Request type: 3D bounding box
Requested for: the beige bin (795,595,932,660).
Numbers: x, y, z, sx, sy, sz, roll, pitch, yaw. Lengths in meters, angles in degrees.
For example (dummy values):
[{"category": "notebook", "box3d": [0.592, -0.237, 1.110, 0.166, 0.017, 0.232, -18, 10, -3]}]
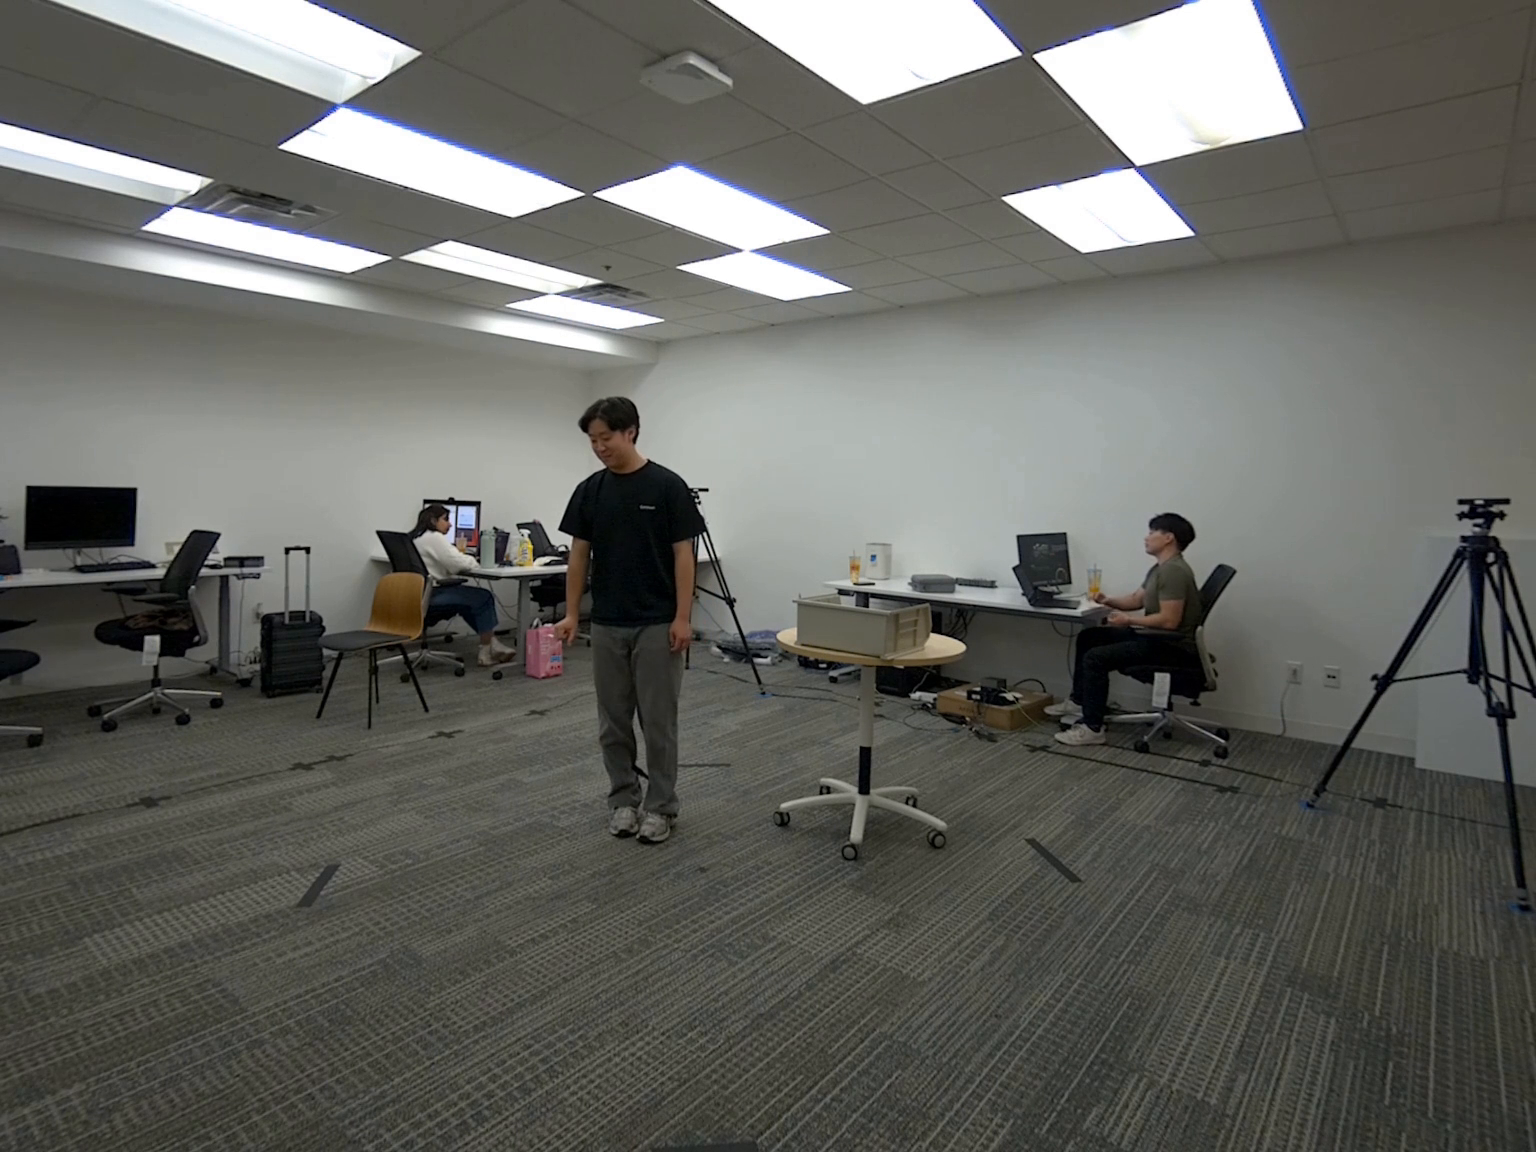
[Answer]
[{"category": "beige bin", "box3d": [0.366, 0.187, 3.345, 0.437, 0.188, 0.366, 6, 8, 38]}]
